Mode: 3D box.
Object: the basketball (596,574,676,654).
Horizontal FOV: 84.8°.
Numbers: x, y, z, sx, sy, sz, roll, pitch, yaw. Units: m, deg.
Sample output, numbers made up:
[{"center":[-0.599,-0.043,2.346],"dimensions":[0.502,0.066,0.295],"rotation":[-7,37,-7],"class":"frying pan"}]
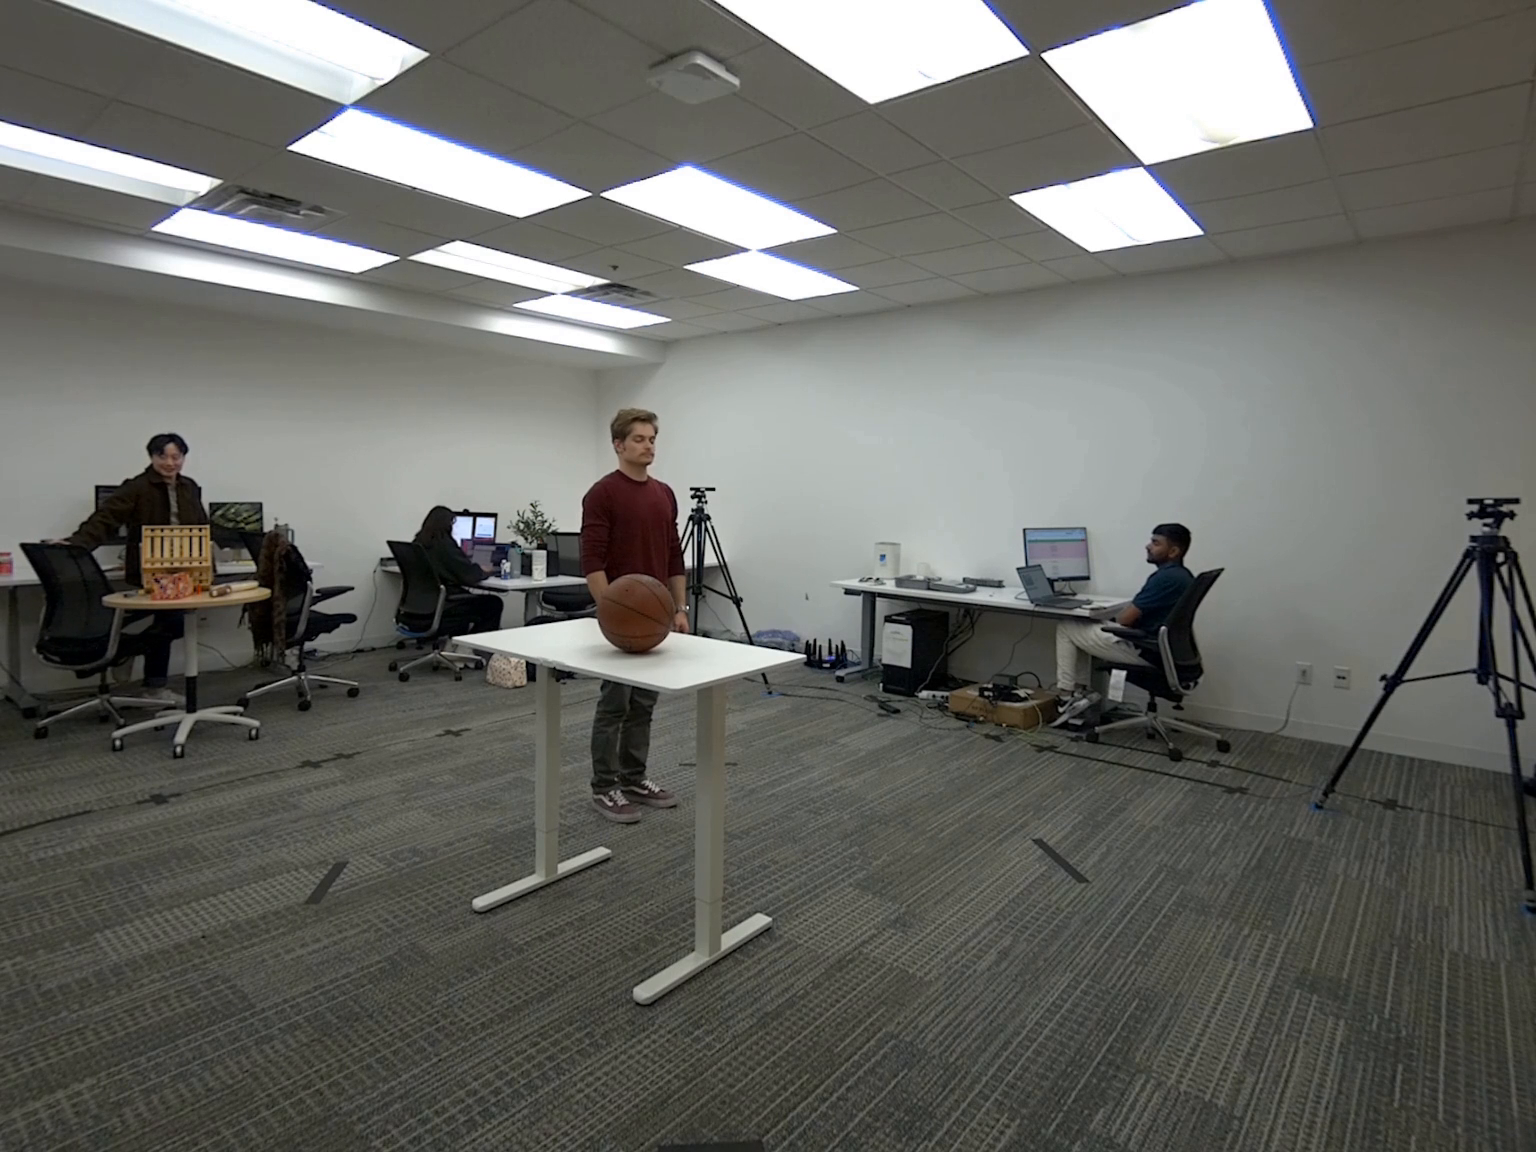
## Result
[{"center":[-0.413,0.108,2.621],"dimensions":[0.235,0.235,0.237],"rotation":[1,4,-2],"class":"basketball"}]
